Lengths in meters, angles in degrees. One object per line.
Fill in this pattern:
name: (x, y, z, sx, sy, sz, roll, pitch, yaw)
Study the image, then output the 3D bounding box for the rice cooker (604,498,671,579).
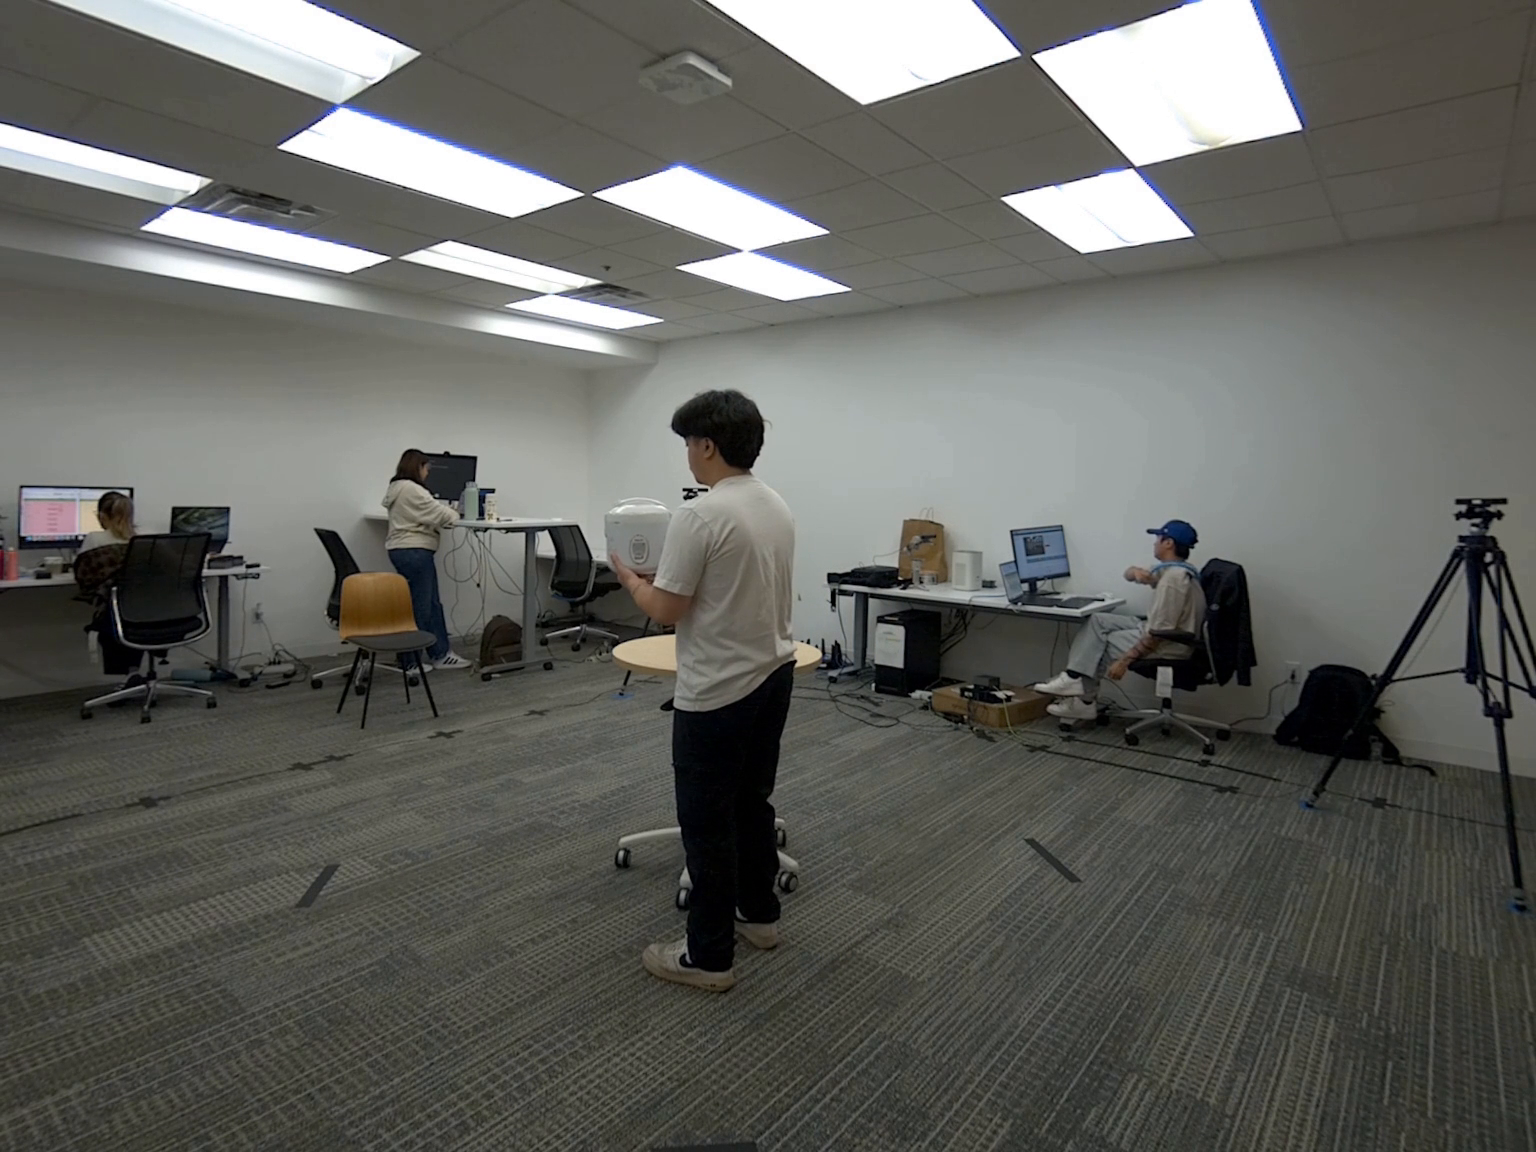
rice cooker: (-0.408, -0.129, 2.658, 0.219, 0.232, 0.219, -2, 5, -6)
